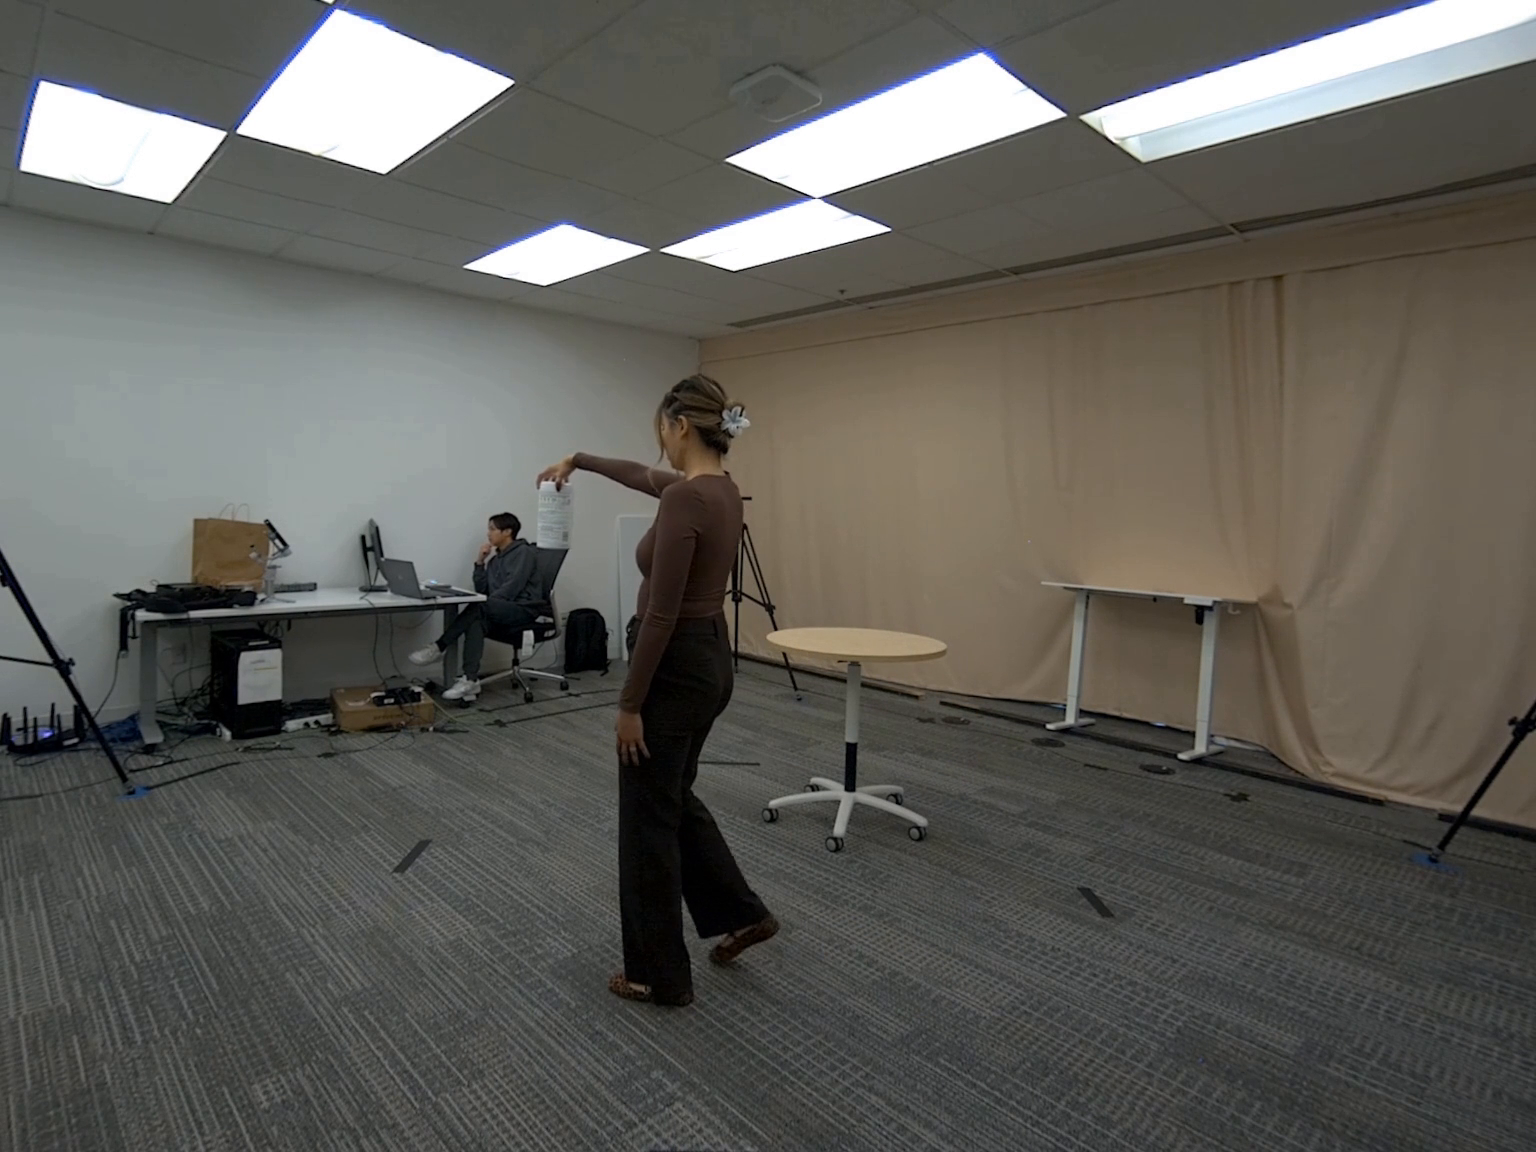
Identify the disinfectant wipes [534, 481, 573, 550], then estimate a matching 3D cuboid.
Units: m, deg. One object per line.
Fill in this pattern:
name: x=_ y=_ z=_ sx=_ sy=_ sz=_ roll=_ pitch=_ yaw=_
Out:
disinfectant wipes: x=-0.696 y=-0.192 z=2.724 sx=0.118 sy=0.217 sz=0.118 roll=3 pitch=2 yaw=-2
